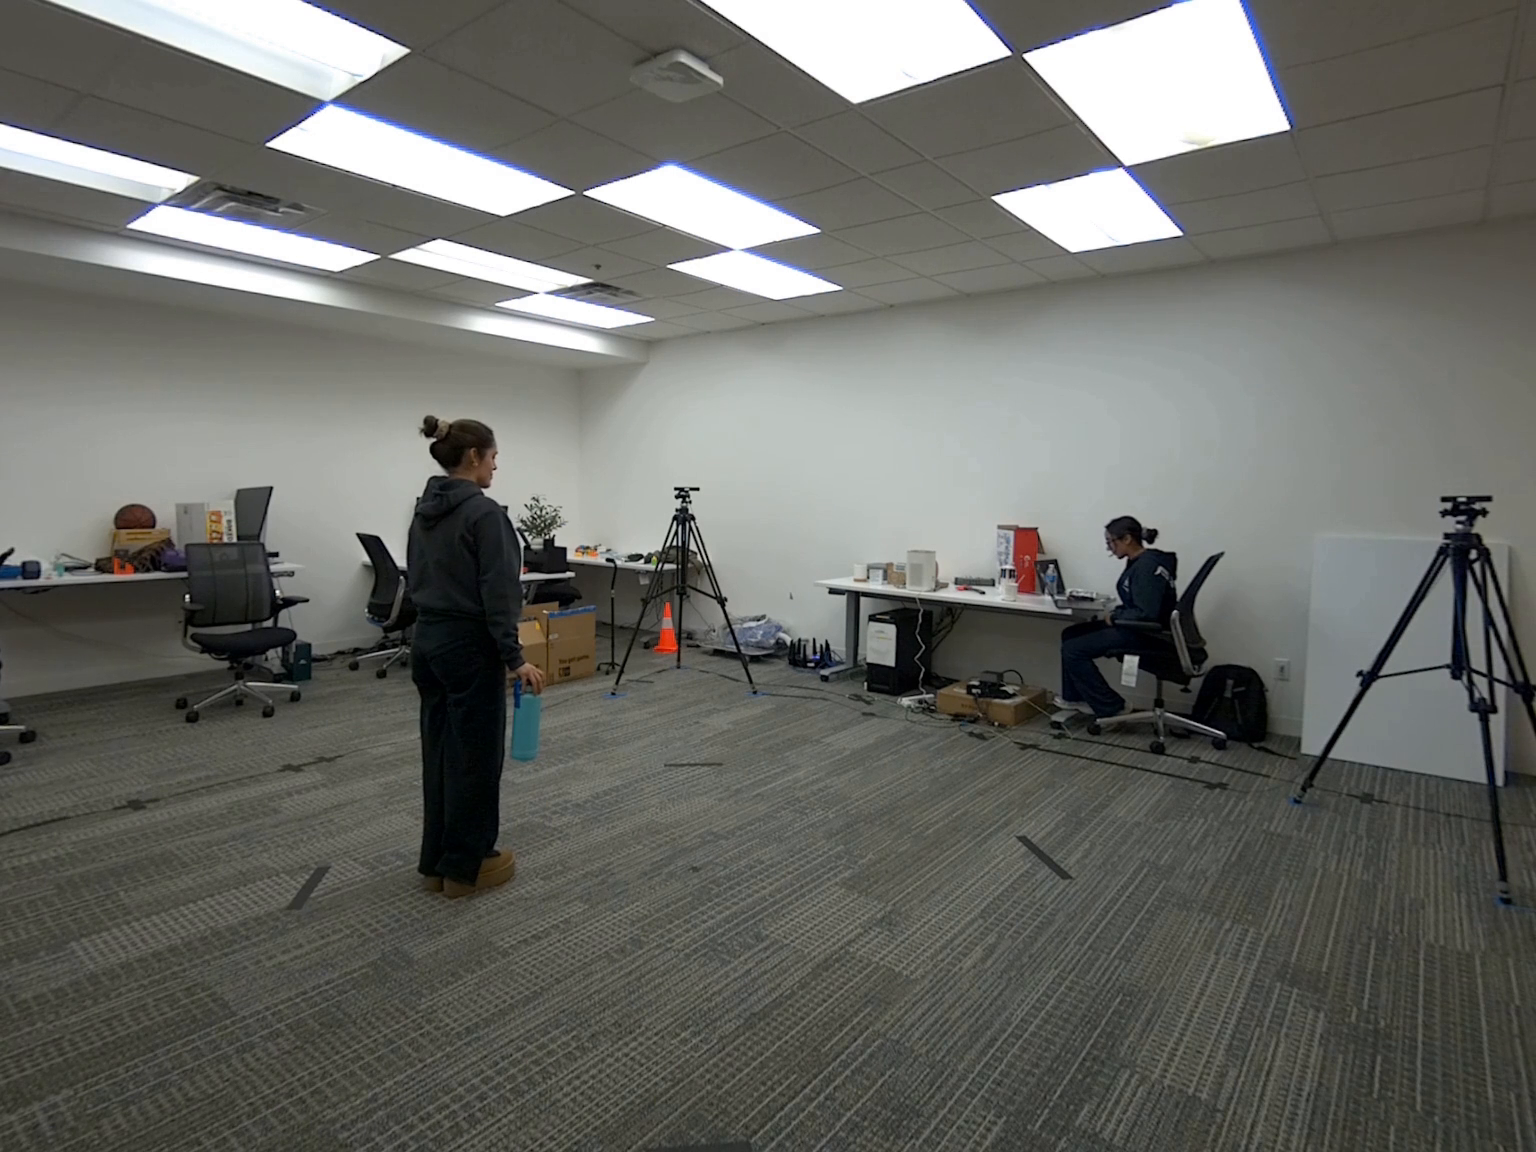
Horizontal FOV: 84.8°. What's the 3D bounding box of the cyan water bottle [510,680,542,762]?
[{"bbox_3d":[-0.828,0.483,2.860,0.092,0.283,0.093,4,3,-2],"label":"cyan water bottle"}]
